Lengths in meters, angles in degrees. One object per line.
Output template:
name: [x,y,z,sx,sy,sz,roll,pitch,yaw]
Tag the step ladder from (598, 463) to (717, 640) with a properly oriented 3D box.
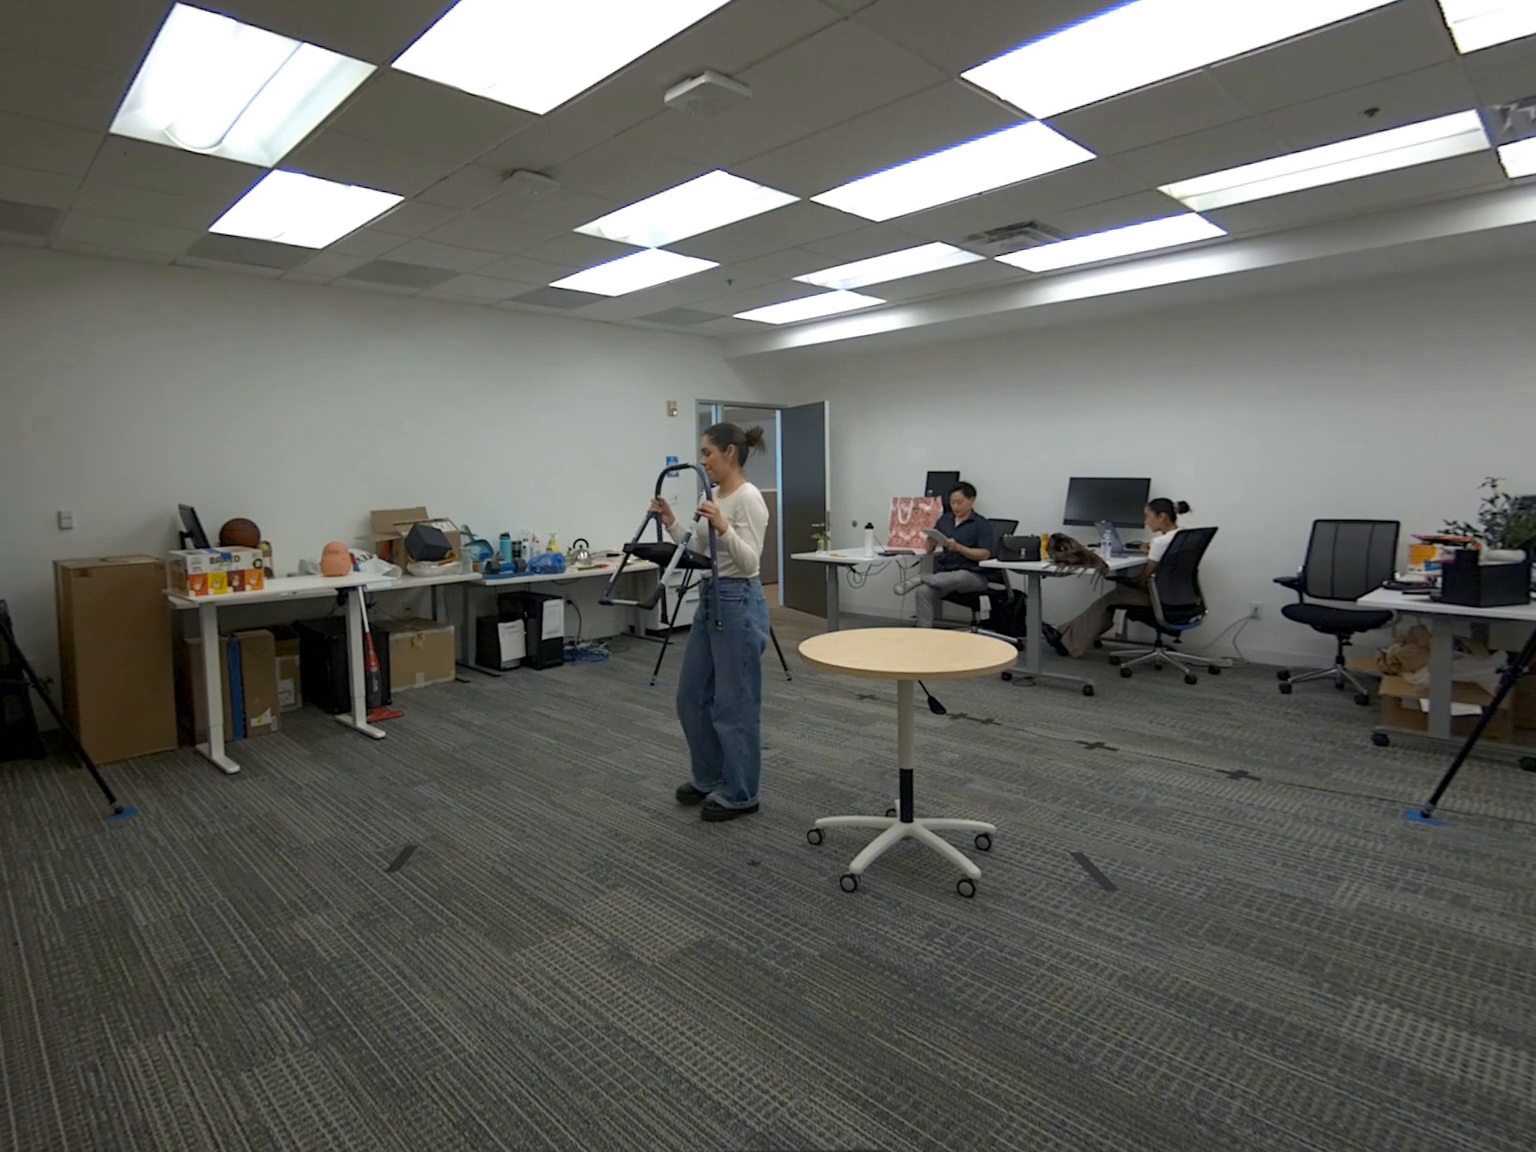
step ladder: [-0.364,-0.130,3.391,0.337,0.610,0.442,20,-12,-35]
